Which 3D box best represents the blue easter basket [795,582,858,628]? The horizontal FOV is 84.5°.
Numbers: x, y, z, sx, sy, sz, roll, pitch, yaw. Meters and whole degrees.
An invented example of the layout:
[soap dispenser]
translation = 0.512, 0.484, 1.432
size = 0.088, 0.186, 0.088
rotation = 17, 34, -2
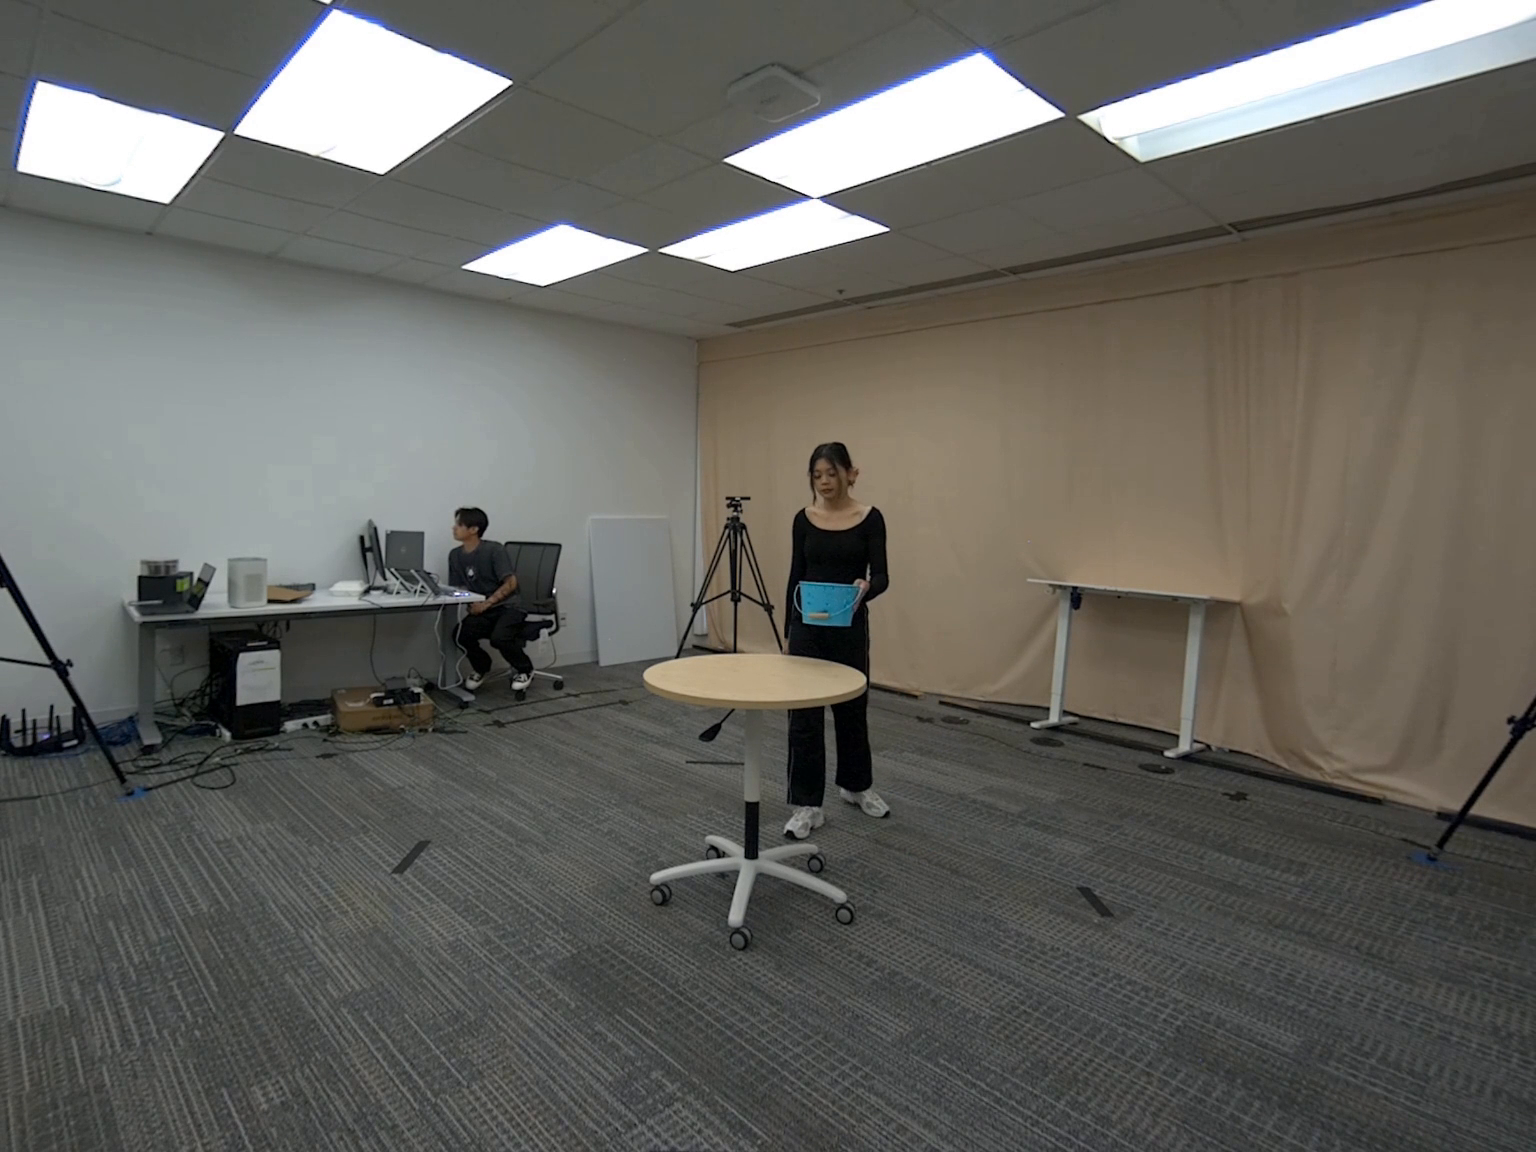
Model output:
[blue easter basket]
translation = 0.224, 0.110, 3.176
size = 0.243, 0.156, 0.244
rotation = 4, 1, -1
